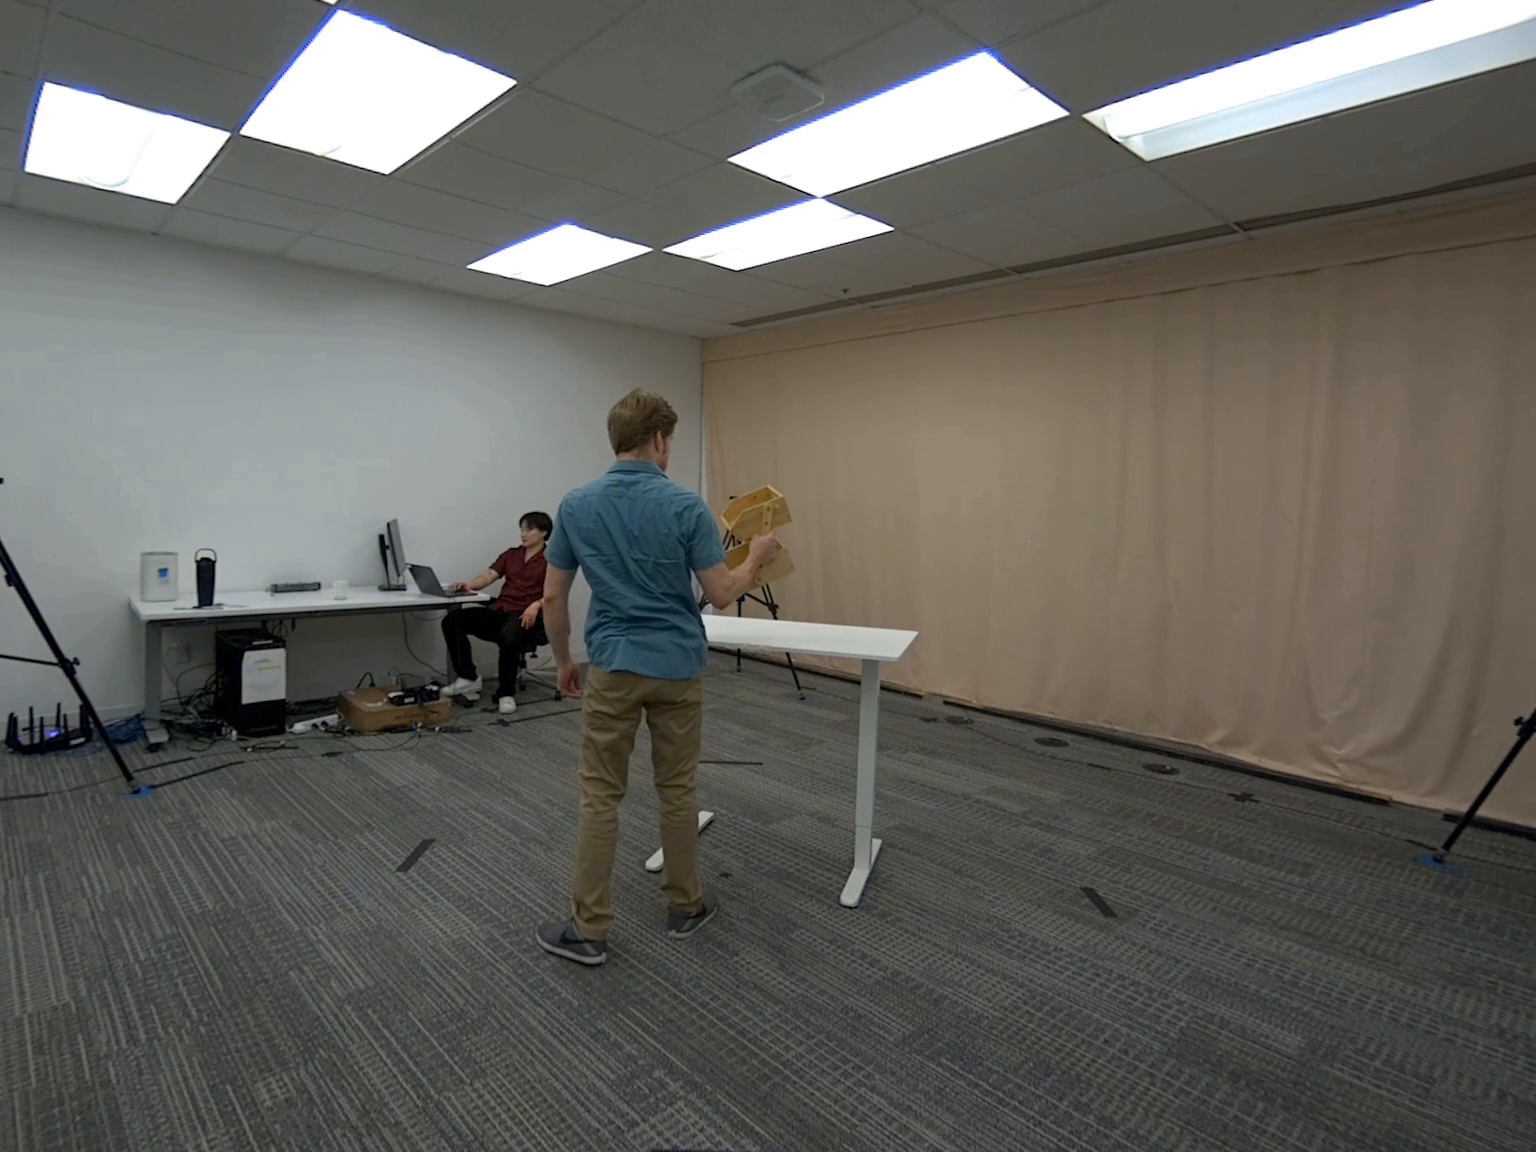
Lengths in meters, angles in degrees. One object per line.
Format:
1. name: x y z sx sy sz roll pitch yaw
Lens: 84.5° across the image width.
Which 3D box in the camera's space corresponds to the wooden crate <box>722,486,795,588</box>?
1. wooden crate: -0.084 -0.129 2.954 0.301 0.270 0.329 -22 14 -4
